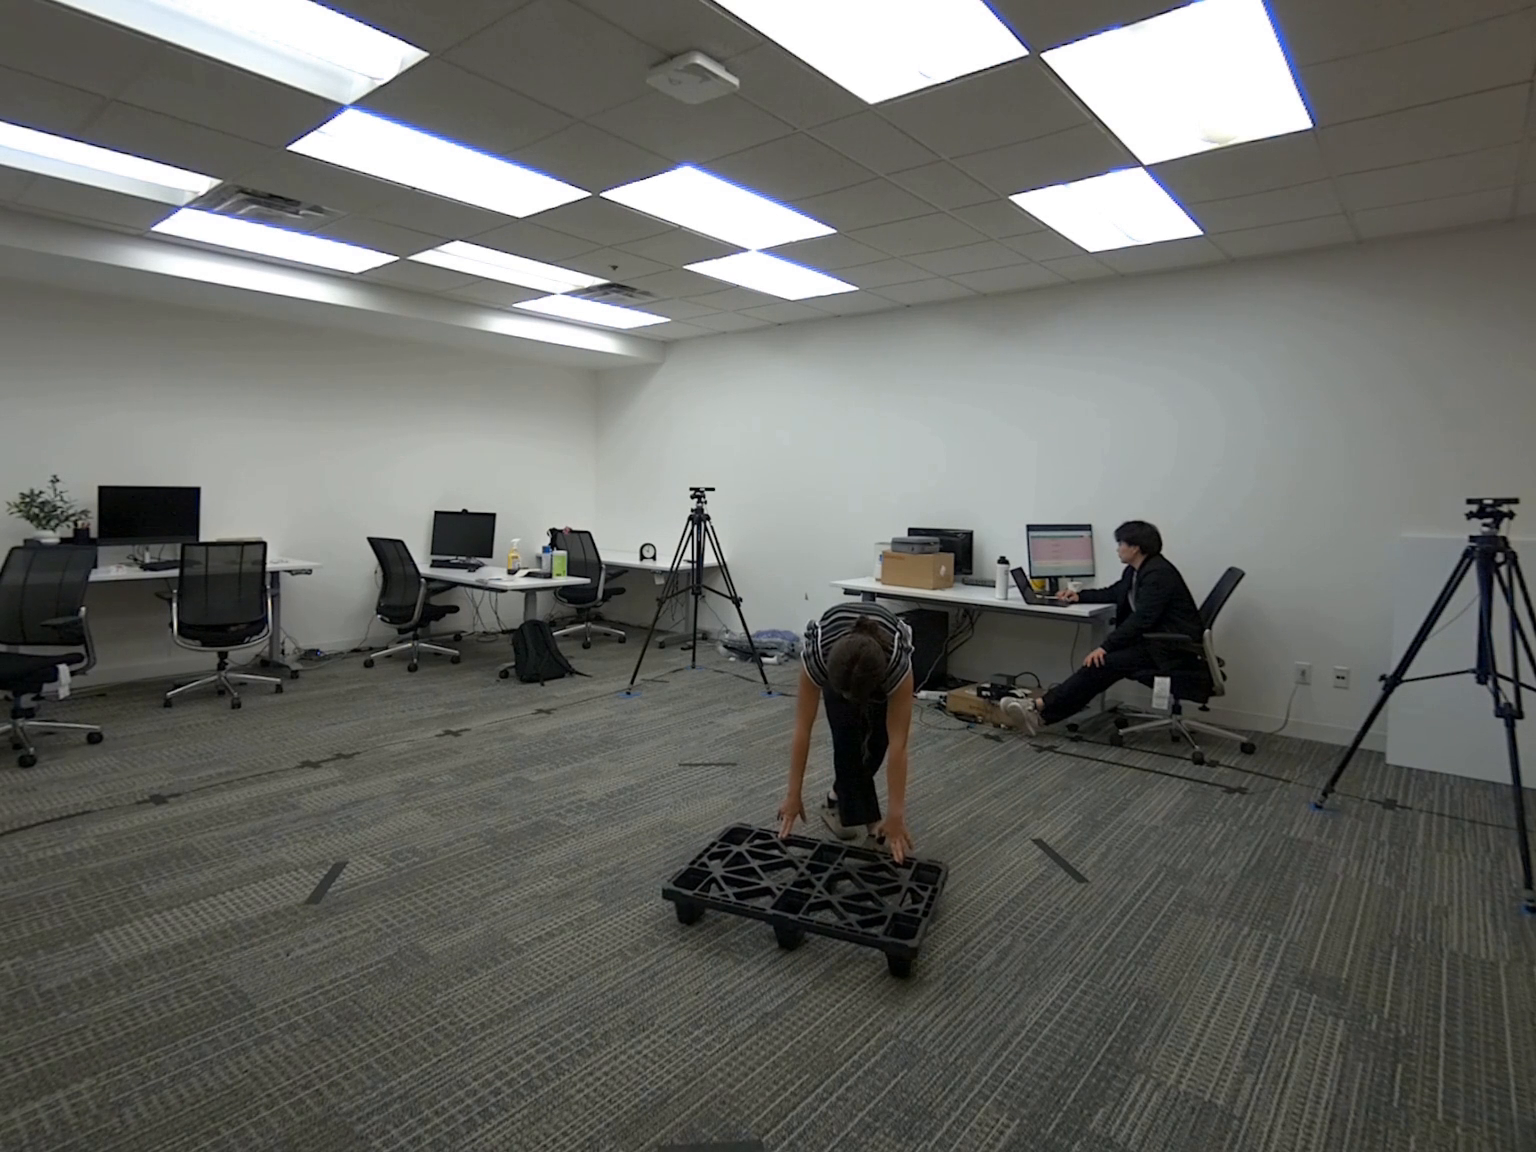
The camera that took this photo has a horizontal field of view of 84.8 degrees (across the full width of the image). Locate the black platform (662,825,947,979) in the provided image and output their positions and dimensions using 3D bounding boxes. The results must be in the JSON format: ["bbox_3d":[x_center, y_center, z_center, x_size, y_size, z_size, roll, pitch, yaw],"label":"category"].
[{"bbox_3d":[0.129,1.037,2.777,0.825,0.143,0.593,3,6,22],"label":"black platform"}]
